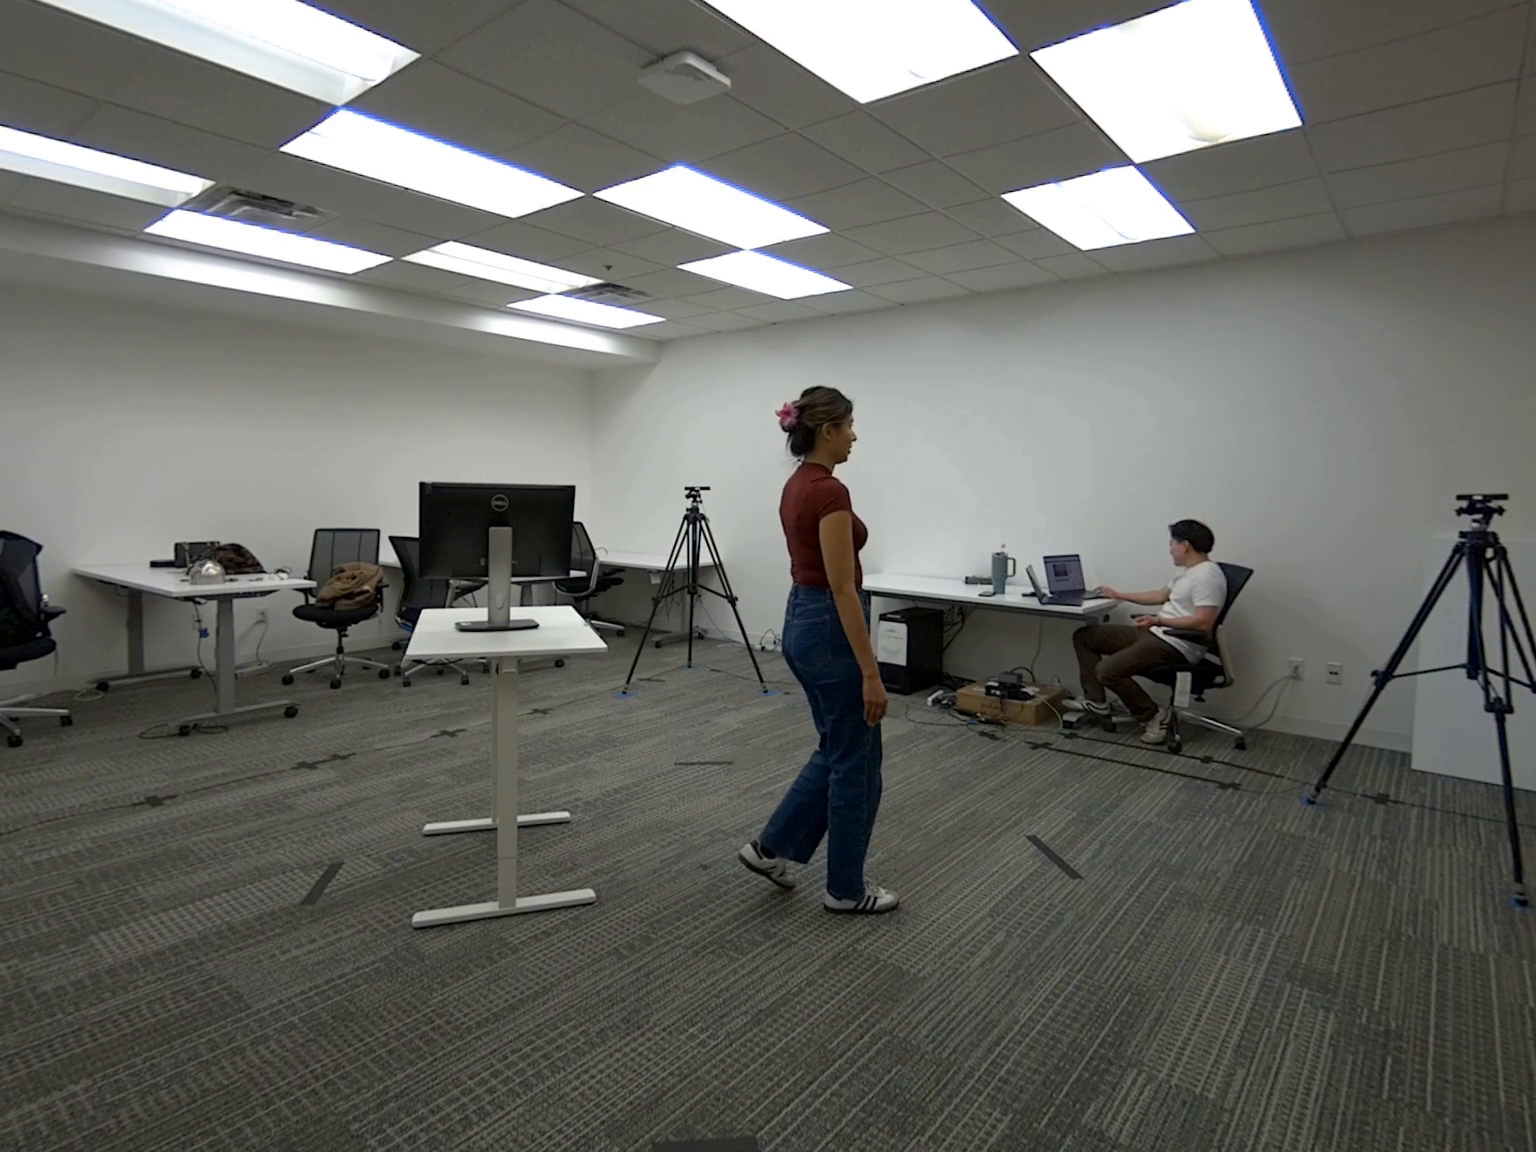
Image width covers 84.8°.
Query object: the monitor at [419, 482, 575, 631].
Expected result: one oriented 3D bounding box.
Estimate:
[{"bbox_3d":[-0.970,-0.070,3.005,0.527,0.520,0.192,0,5,-22],"label":"monitor"}]
